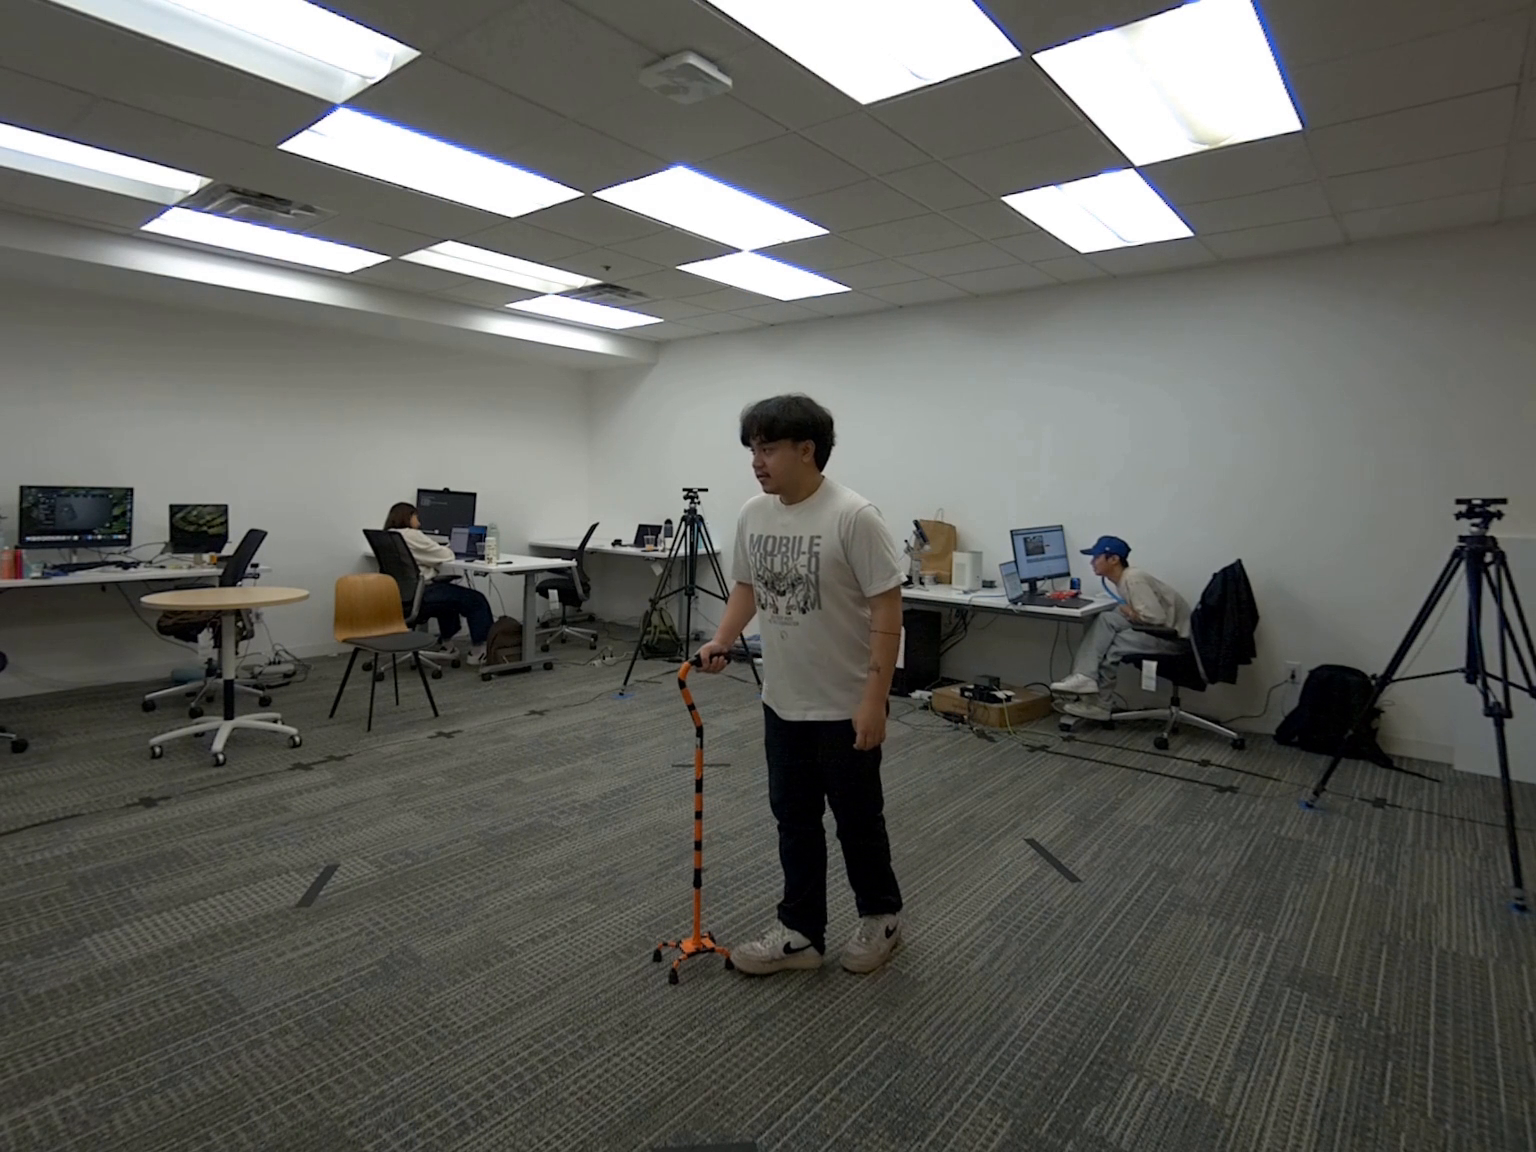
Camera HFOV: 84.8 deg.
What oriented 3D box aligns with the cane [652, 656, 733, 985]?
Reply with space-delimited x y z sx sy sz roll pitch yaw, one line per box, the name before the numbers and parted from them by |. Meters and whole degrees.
cane | -0.222 0.674 2.473 0.201 0.906 0.156 -1 2 -30
